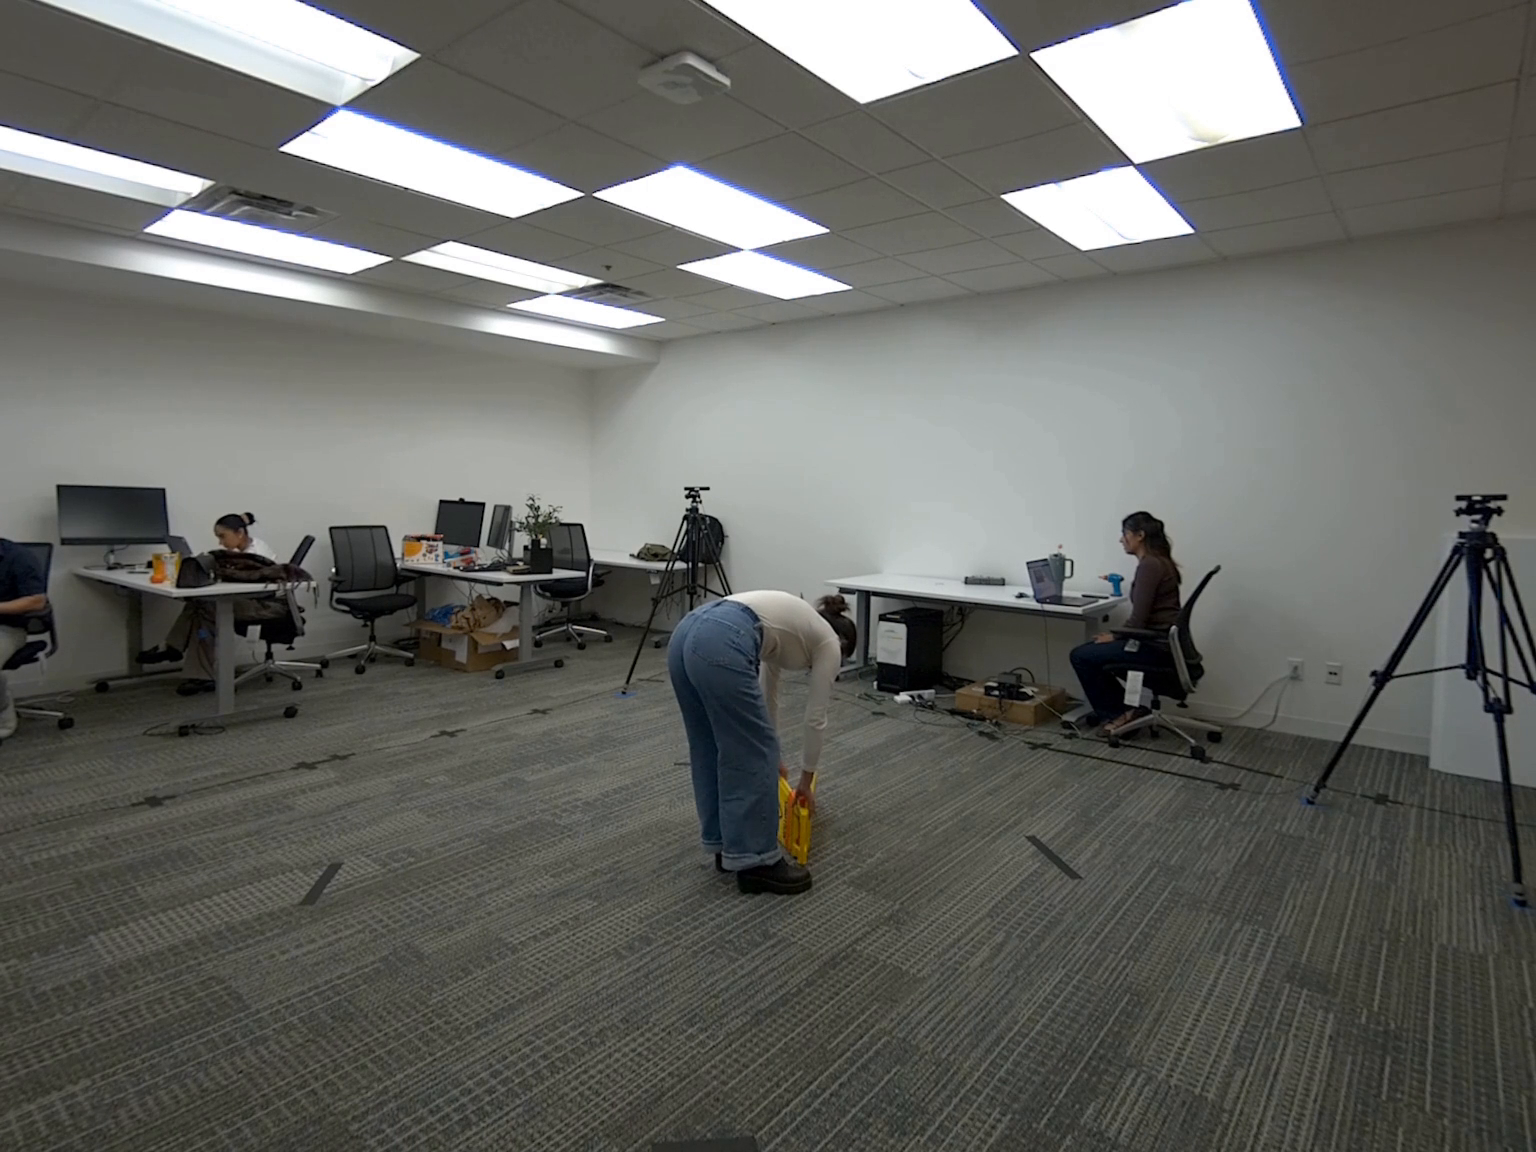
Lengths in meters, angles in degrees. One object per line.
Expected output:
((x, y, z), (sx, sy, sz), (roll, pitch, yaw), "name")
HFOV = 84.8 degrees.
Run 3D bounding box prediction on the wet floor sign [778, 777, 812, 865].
((0.098, 0.906, 3.432), (0.288, 0.280, 0.654), (1, 10, -6), "wet floor sign")
